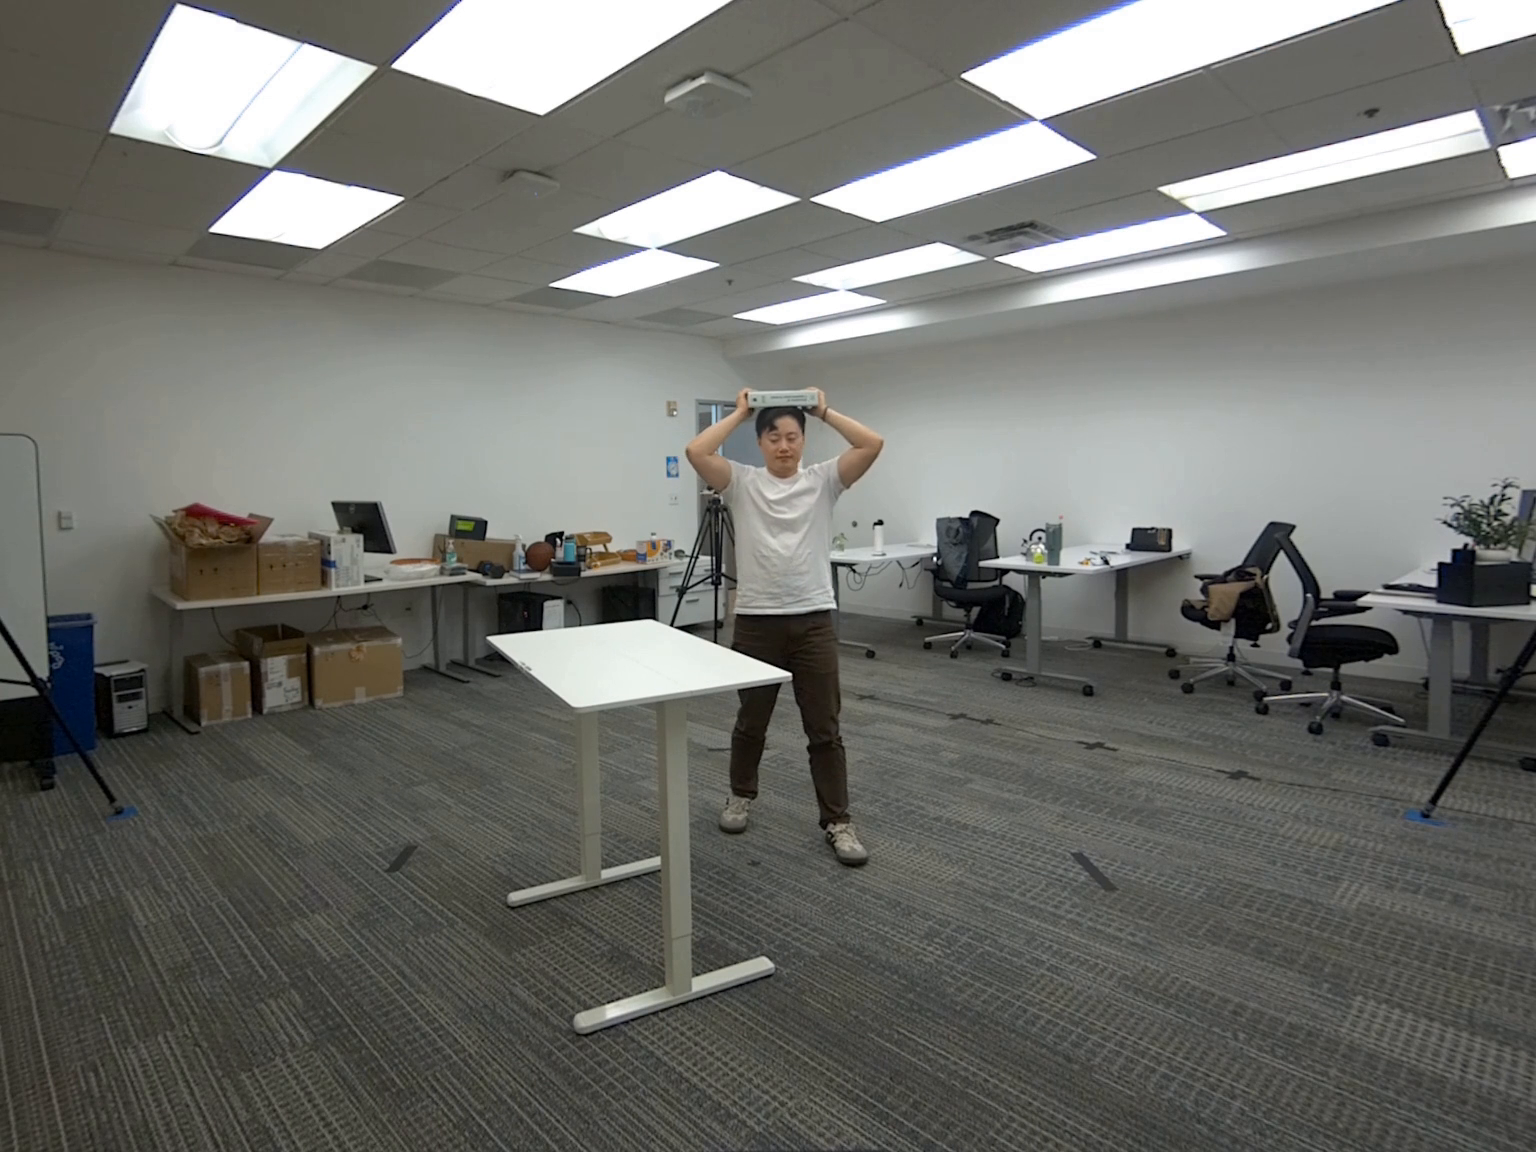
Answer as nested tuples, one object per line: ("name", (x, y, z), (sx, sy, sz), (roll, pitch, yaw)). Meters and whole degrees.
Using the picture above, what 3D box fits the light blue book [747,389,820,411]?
("light blue book", (0.048, -0.672, 3.253), (0.260, 0.058, 0.193), (-2, 8, -3))
